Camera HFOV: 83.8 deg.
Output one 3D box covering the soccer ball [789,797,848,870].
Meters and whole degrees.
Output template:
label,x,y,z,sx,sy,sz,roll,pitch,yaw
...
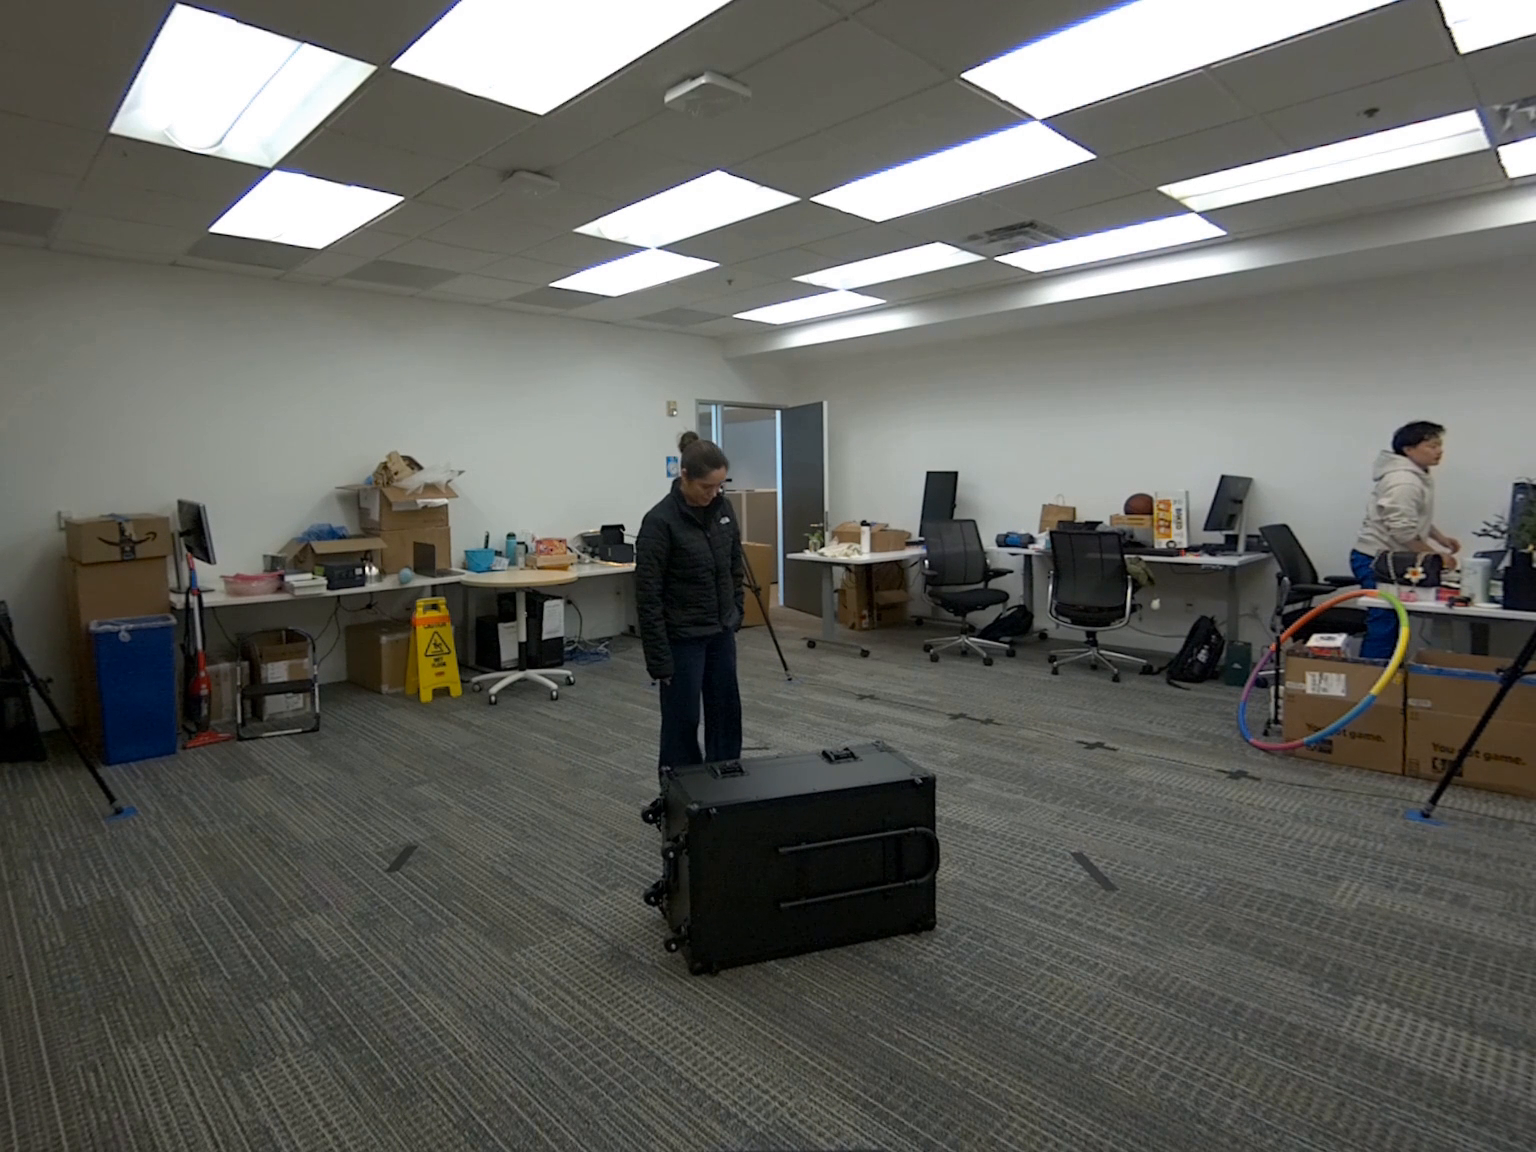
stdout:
label,x,y,z,sx,sy,sz,roll,pitch,yaw
soccer ball,0.181,0.940,3.150,0.187,0.187,0.188,-1,5,-2
